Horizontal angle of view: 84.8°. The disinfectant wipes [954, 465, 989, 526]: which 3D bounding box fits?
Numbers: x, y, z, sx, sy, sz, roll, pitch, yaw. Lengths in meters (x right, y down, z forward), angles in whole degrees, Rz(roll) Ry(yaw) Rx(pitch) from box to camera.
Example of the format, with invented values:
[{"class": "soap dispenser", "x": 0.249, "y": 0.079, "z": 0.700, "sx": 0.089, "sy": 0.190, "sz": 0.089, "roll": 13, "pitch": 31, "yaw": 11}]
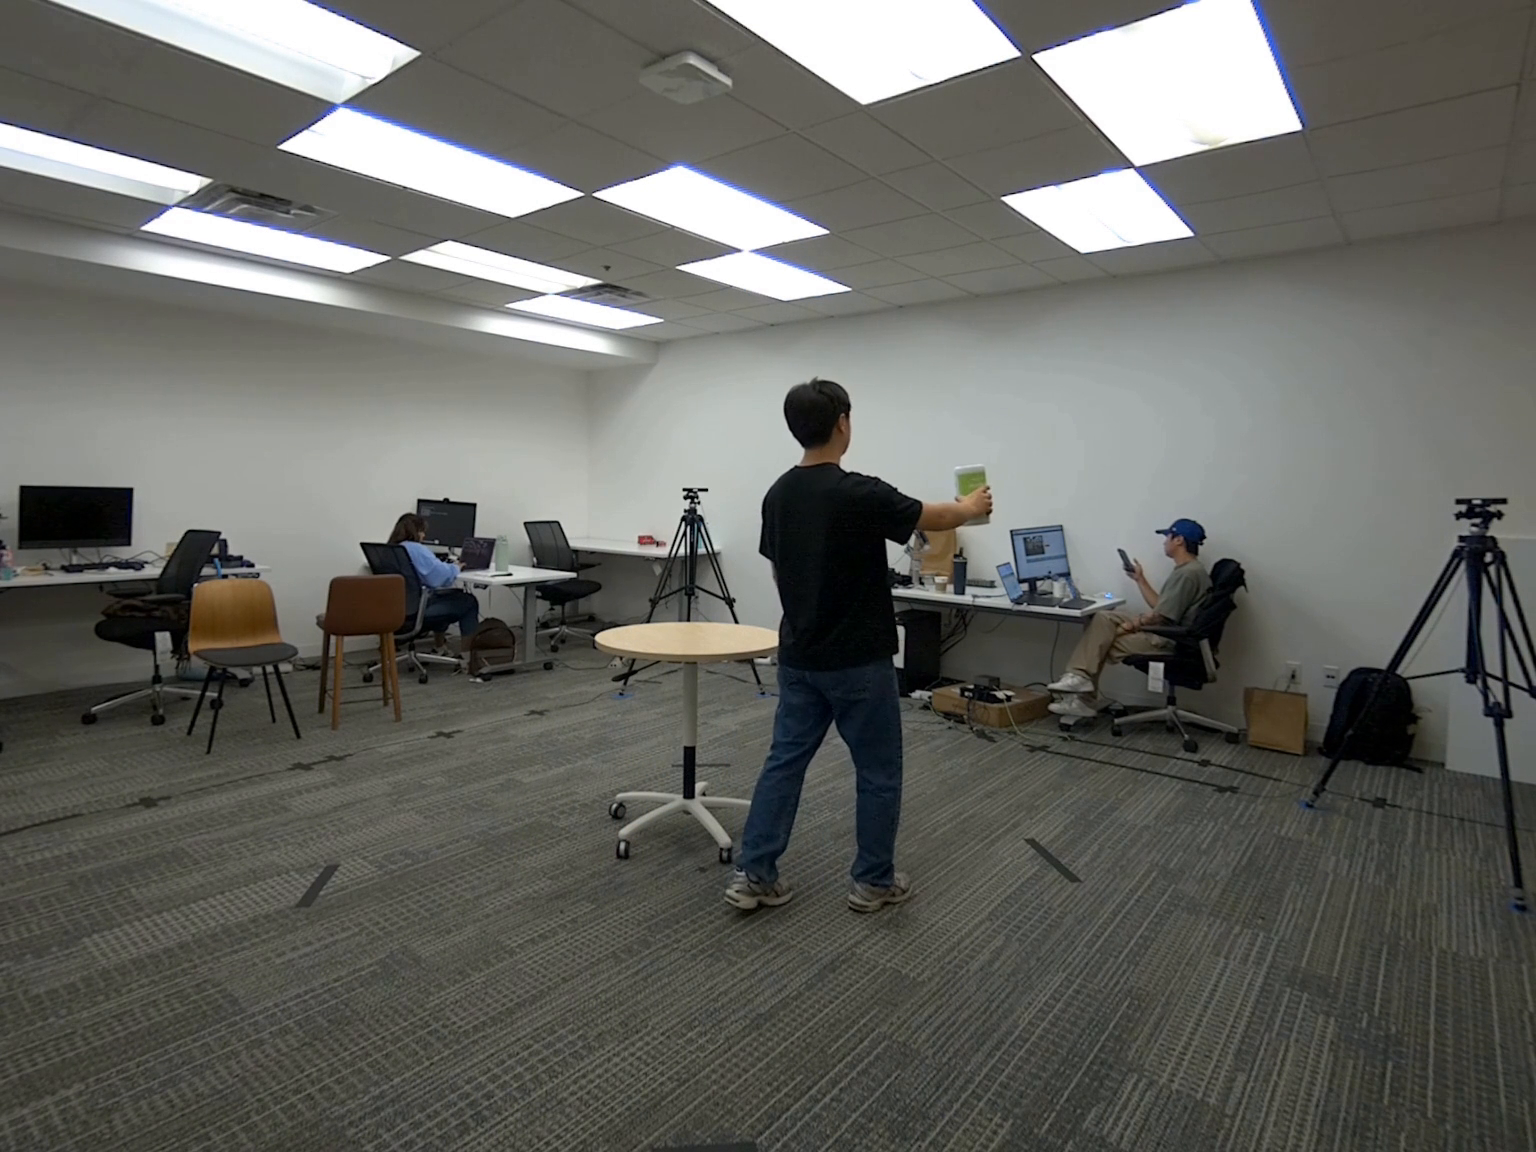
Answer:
[{"class": "disinfectant wipes", "x": 0.732, "y": -0.296, "z": 3.087, "sx": 0.118, "sy": 0.217, "sz": 0.118, "roll": -6, "pitch": 3, "yaw": -1}]
